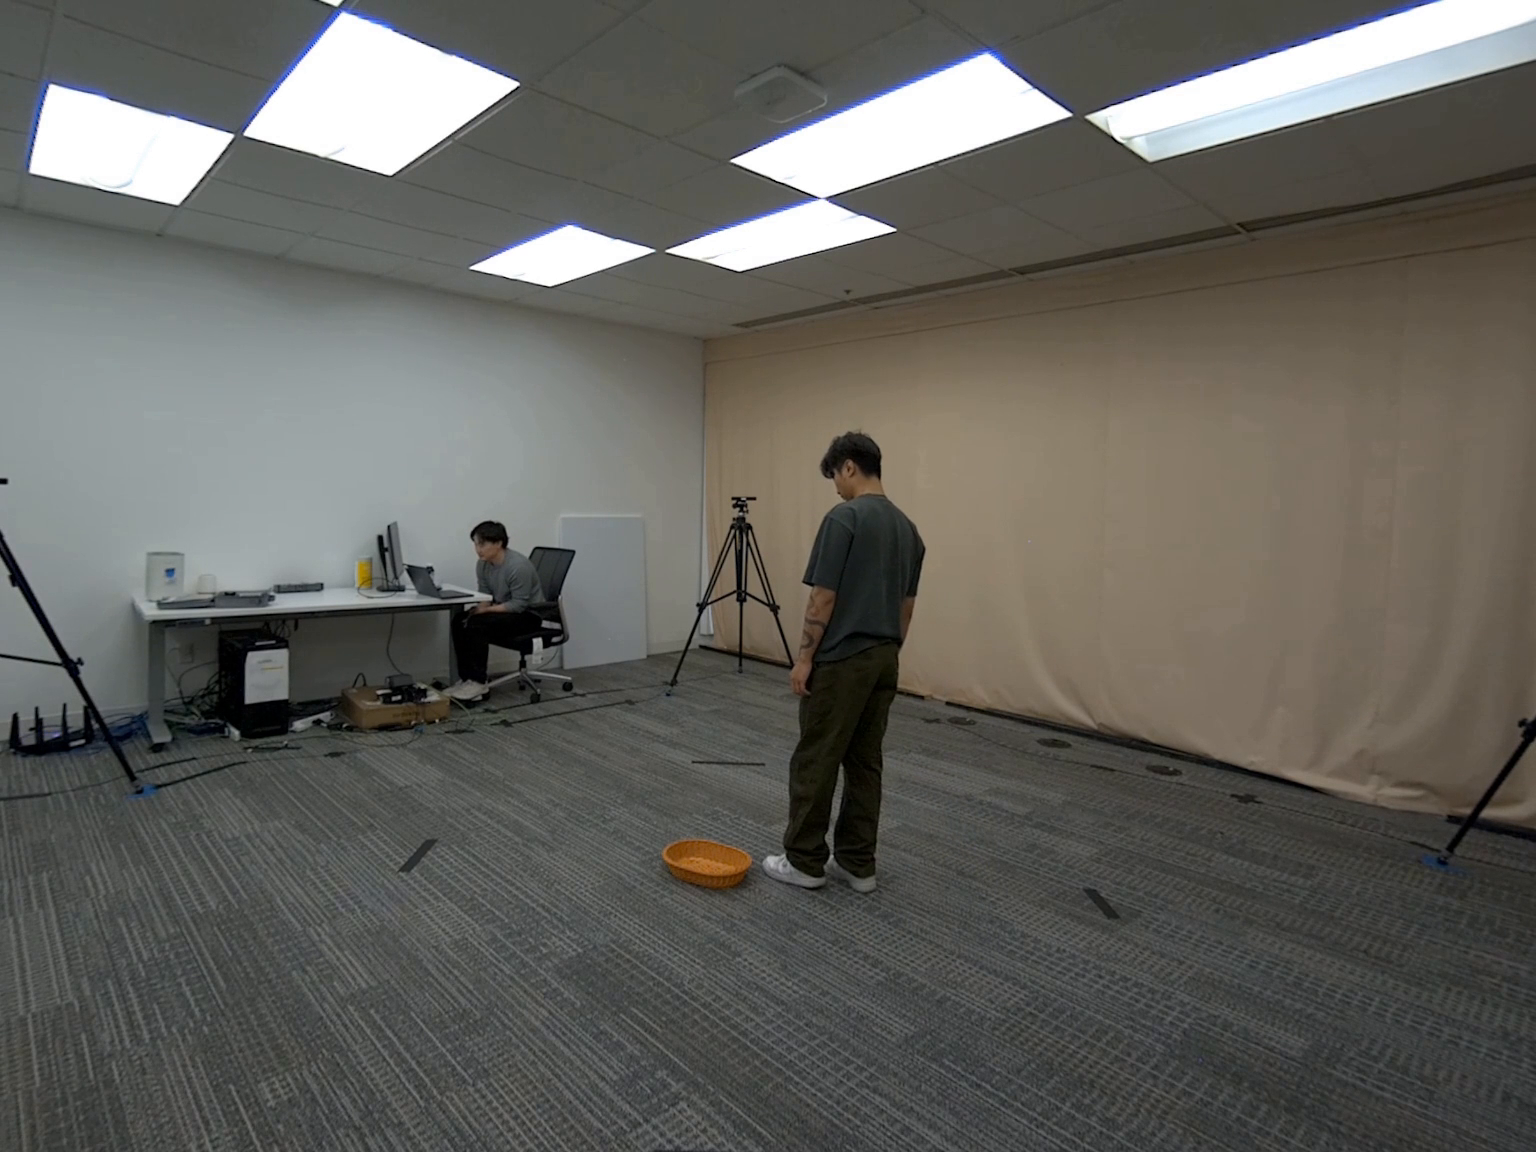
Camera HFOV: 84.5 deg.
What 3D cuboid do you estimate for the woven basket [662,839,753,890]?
[{"bbox_3d":[-0.234,1.059,3.110,0.358,0.073,0.247,5,6,32],"label":"woven basket"}]
